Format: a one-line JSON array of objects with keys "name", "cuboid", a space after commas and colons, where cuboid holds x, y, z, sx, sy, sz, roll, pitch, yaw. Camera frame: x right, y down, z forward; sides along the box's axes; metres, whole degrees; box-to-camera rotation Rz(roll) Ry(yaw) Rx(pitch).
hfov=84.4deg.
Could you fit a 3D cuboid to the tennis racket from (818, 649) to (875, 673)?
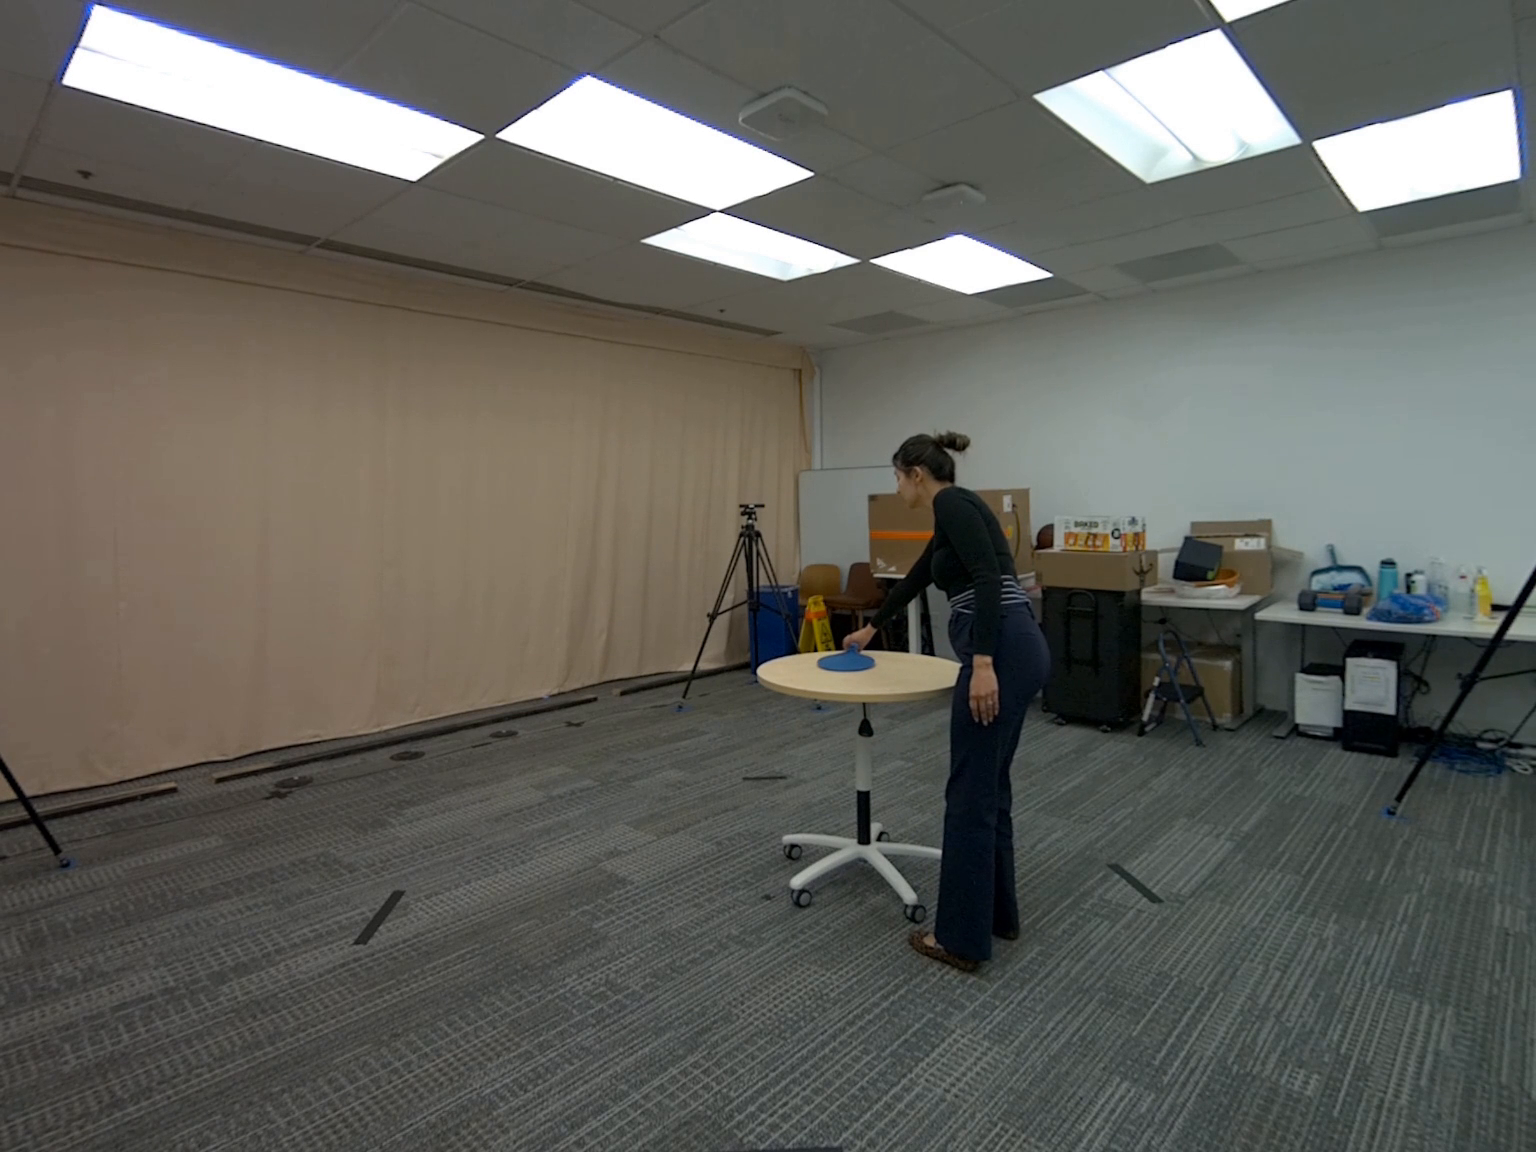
[{"name": "tennis racket", "cuboid": [0.311, 0.315, 3.246, 0.217, 0.031, 0.427, 0, 7, 14]}]
